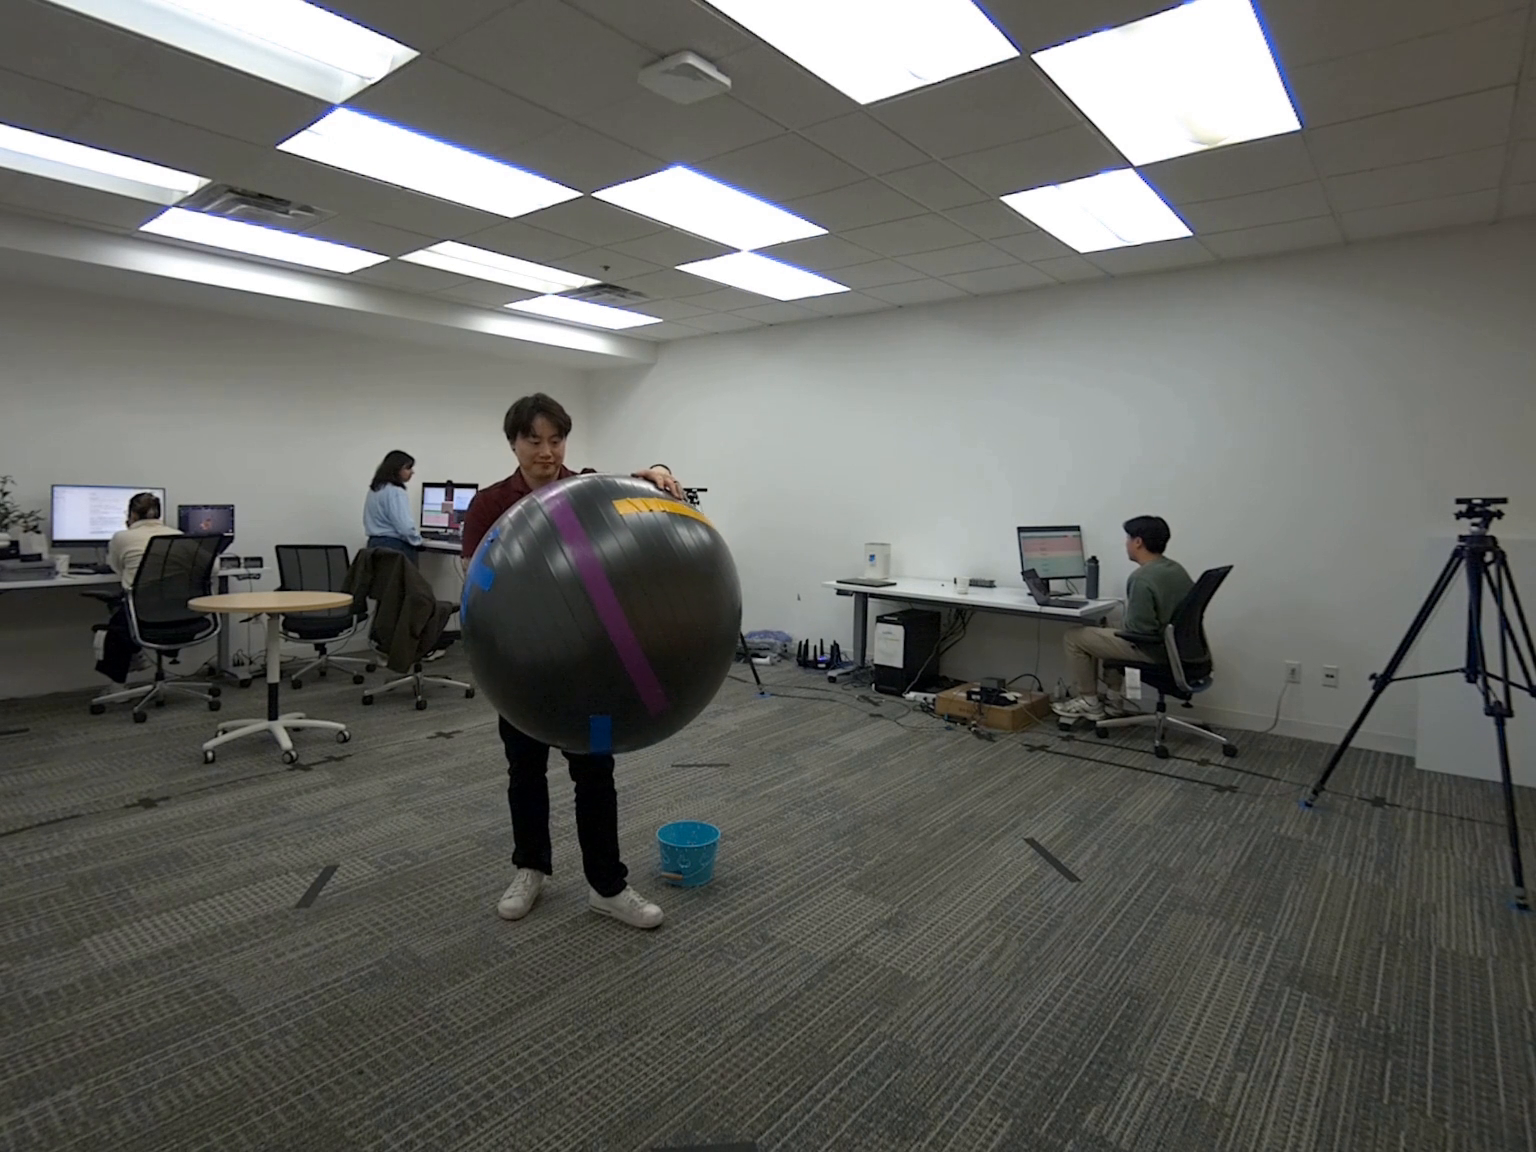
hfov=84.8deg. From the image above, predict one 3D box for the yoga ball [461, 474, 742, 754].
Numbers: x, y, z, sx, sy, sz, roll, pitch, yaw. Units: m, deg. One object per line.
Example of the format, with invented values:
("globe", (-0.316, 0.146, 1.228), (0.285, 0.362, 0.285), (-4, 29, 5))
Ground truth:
("yoga ball", (-0.463, 0.100, 2.314), (0.757, 0.756, 0.761), (1, 4, -2))
